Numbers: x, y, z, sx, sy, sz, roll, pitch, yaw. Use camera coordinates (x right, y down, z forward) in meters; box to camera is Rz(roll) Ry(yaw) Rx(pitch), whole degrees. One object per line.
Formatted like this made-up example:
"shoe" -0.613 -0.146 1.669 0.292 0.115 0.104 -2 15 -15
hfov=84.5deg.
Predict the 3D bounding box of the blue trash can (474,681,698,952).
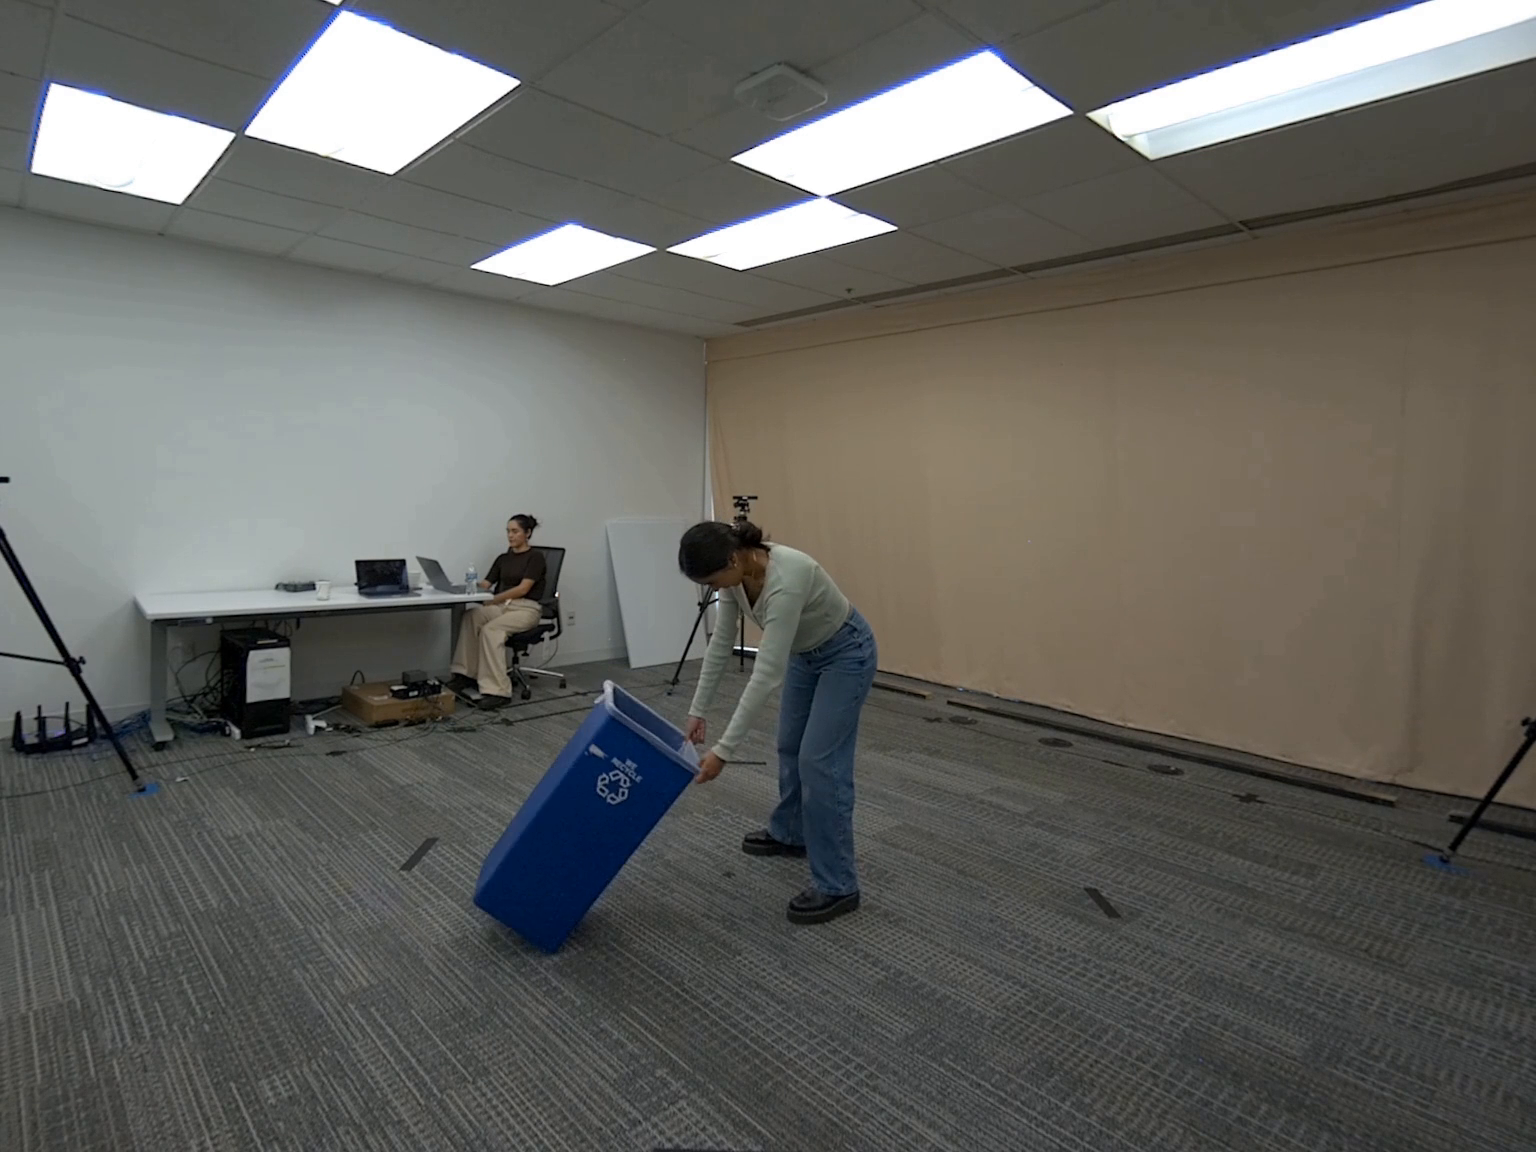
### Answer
"blue trash can" -0.567 0.763 2.676 0.370 0.714 0.382 37 -3 -12
